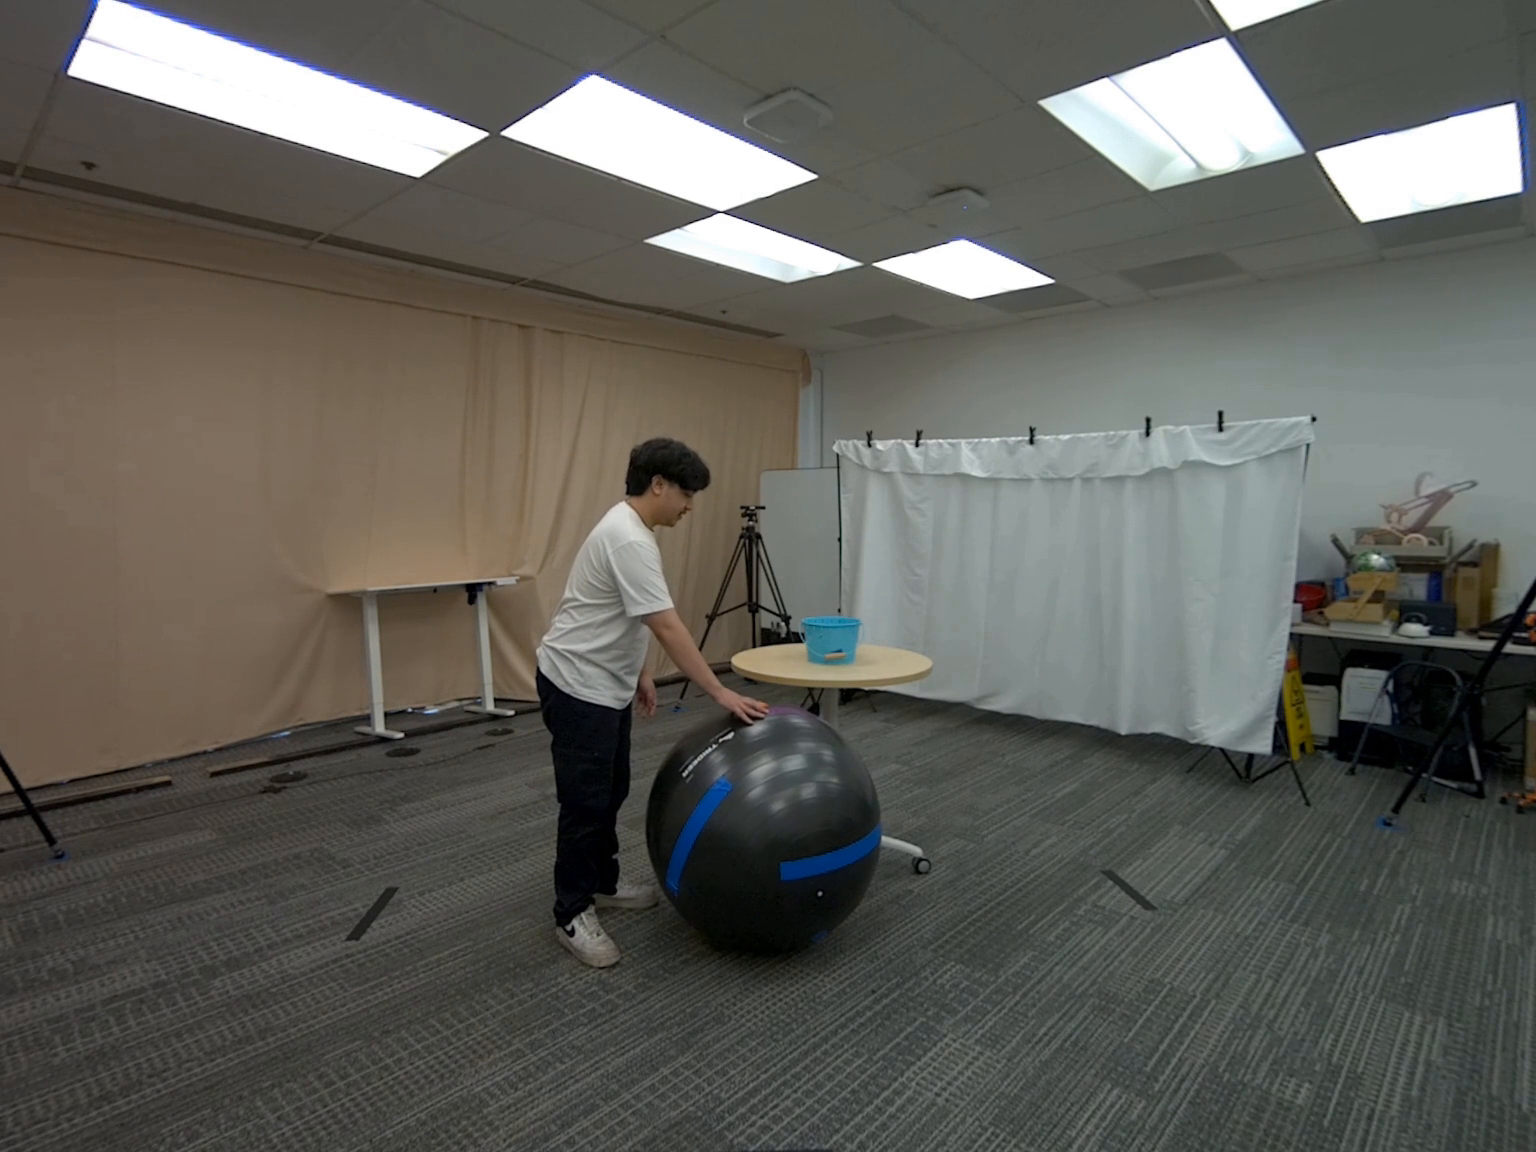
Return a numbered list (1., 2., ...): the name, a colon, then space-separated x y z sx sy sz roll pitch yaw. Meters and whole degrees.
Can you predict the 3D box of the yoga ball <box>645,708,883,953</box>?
1. yoga ball: -0.014 0.799 2.716 0.757 0.756 0.761 0 4 -2
